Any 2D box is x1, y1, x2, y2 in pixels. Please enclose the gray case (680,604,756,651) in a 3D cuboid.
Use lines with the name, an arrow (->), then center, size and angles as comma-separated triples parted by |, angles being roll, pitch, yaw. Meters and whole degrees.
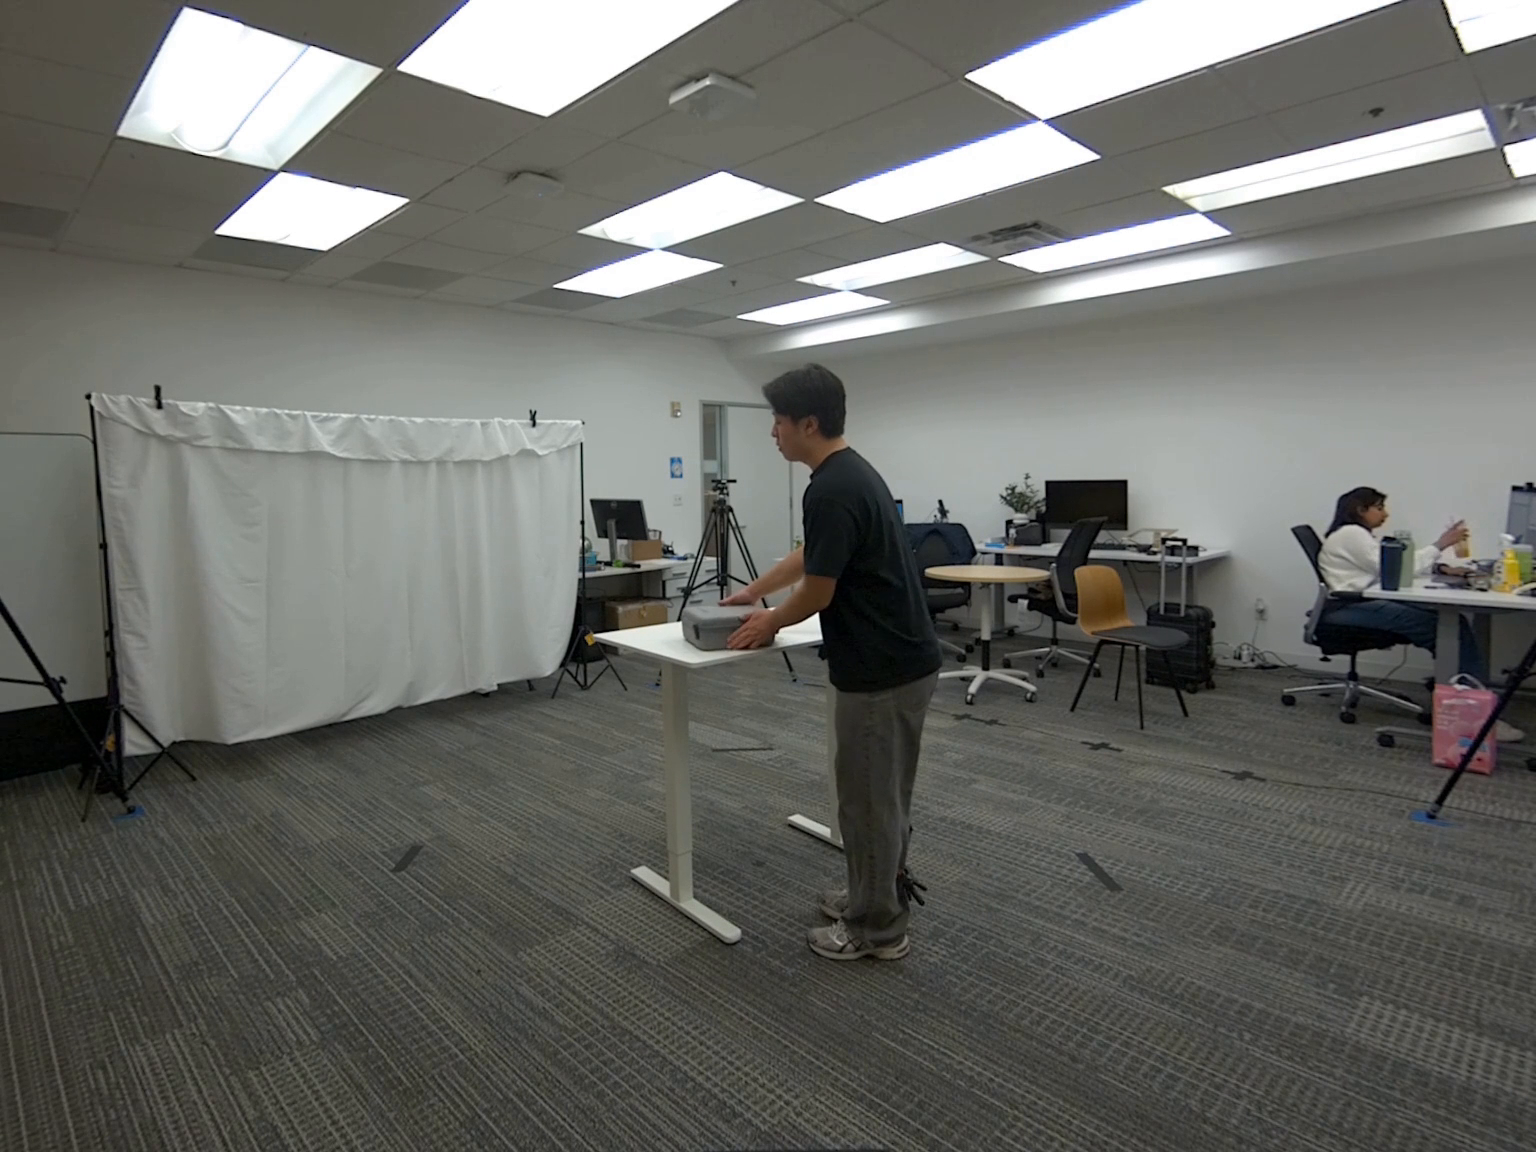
gray case -> -0.119, 0.160, 2.723 | 0.283, 0.102, 0.268 | -2, 7, -17
